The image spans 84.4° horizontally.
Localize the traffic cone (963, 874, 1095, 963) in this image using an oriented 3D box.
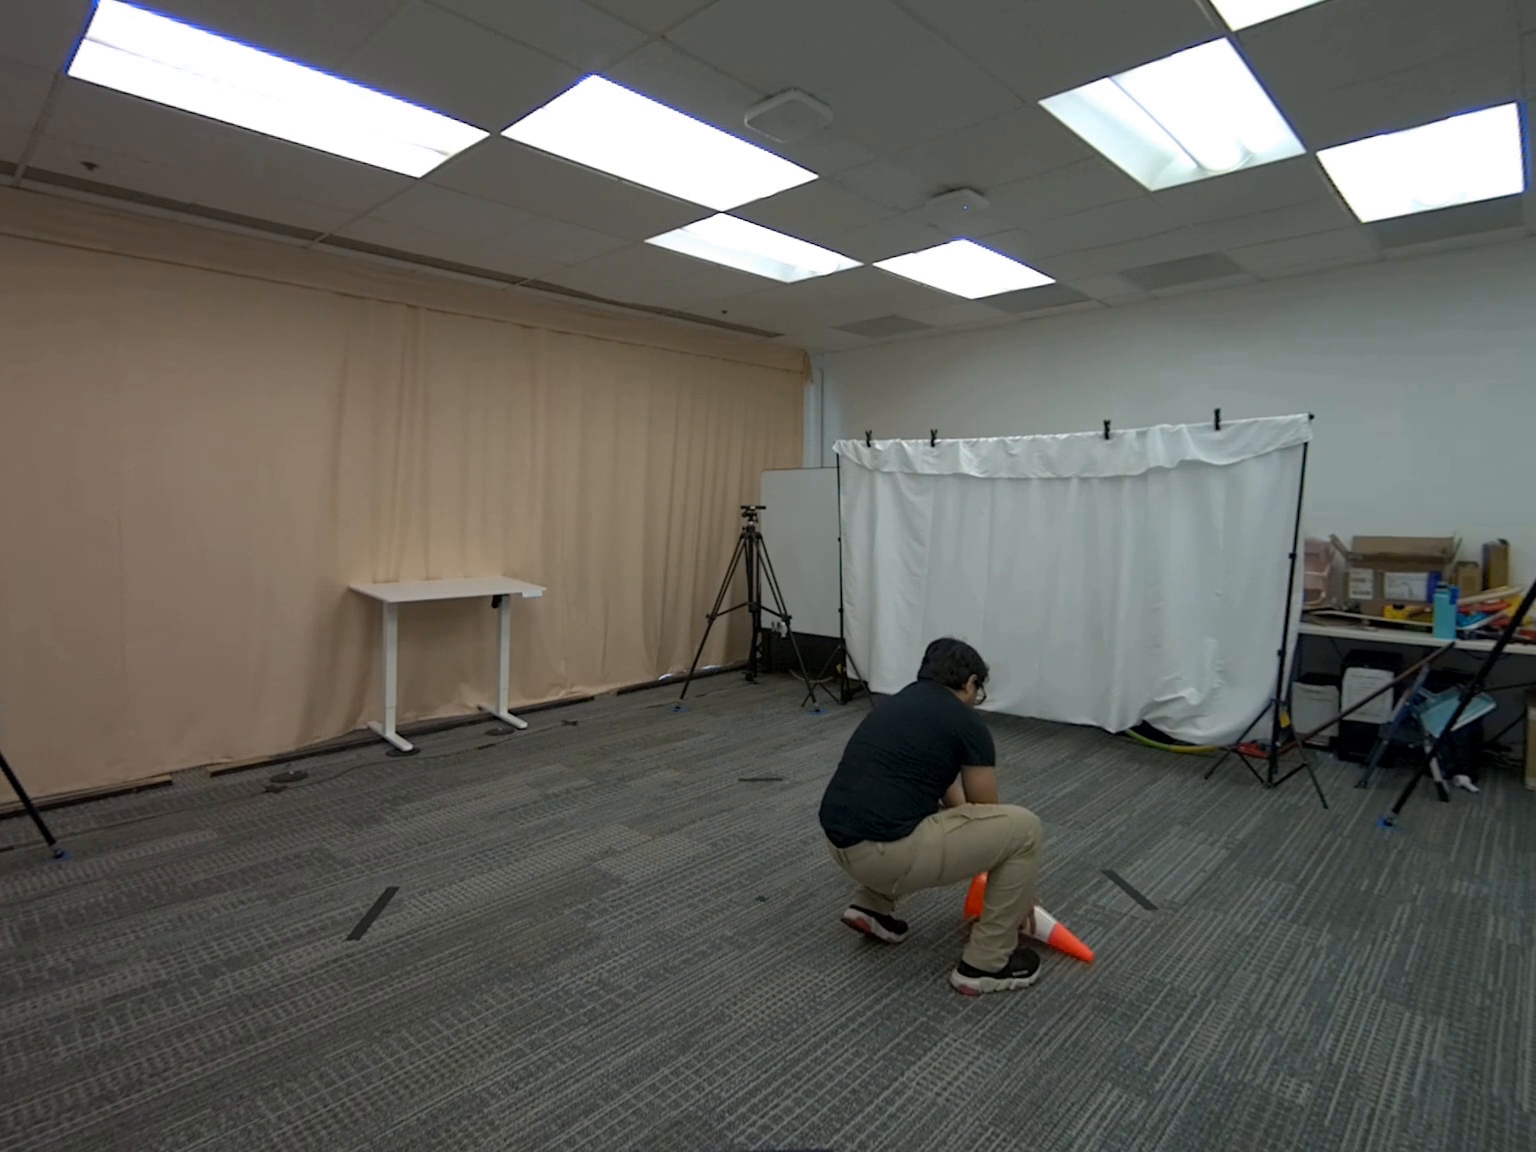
[{"bbox_3d":[0.856,1.106,2.680,0.398,0.203,0.198,22,10,40],"label":"traffic cone"}]
